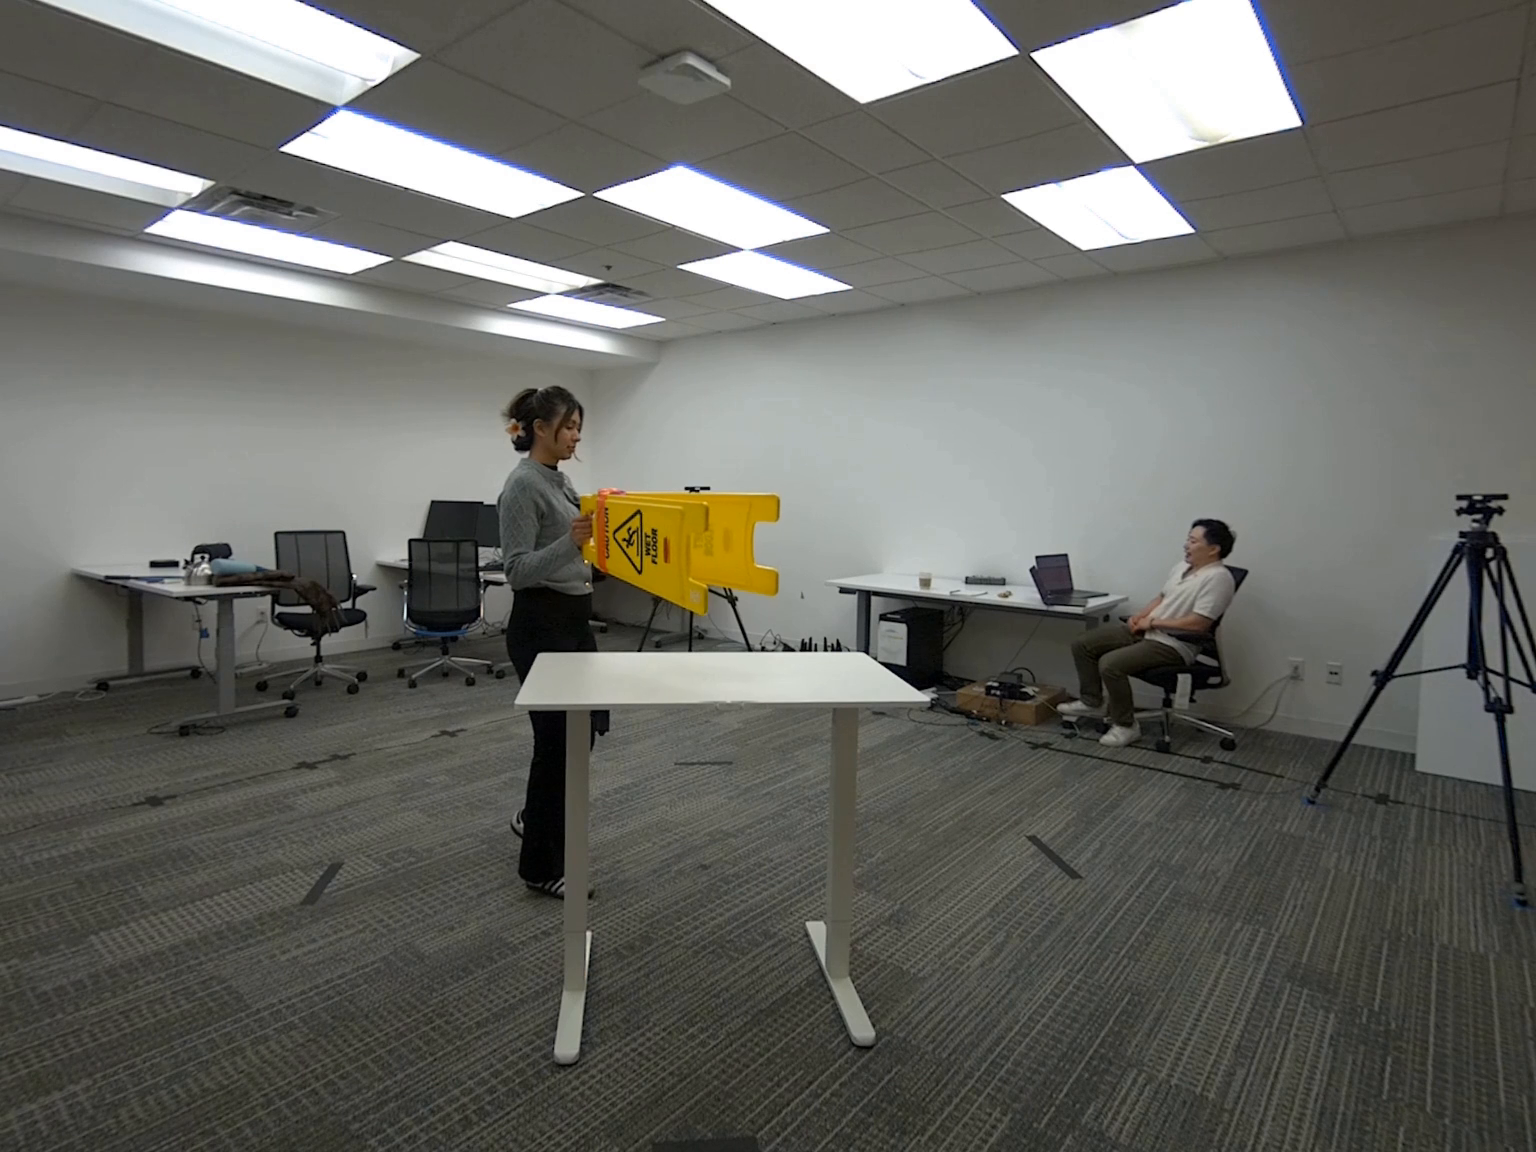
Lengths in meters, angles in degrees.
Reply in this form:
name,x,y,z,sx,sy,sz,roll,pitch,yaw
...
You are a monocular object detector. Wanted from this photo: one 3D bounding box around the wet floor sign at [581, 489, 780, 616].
name,x,y,z,sx,sy,sz,roll,pitch,yaw
wet floor sign,-0.321,-0.104,2.383,0.669,0.280,0.282,10,13,39
